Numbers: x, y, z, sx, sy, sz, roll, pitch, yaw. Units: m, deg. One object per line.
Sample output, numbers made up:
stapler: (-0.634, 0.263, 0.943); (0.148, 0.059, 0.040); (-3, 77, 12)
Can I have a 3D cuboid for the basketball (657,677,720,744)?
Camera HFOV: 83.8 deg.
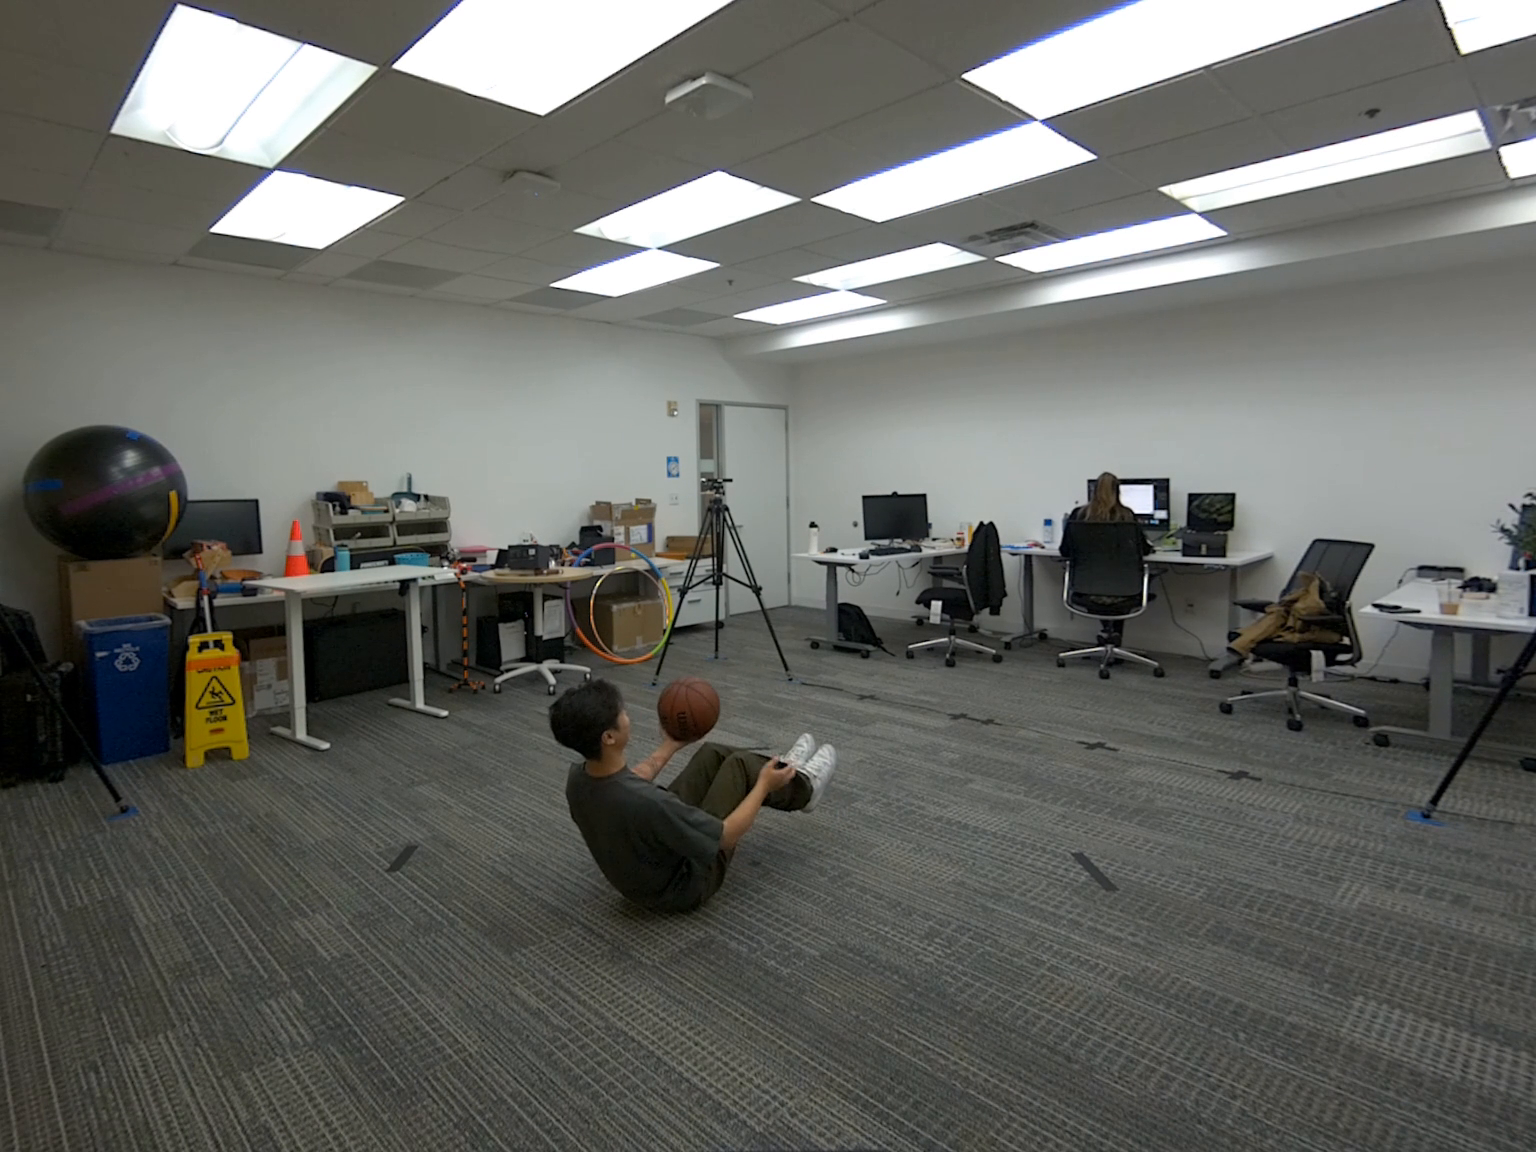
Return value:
basketball: (-0.294, 0.507, 3.231); (0.236, 0.235, 0.237); (-1, 5, -2)
